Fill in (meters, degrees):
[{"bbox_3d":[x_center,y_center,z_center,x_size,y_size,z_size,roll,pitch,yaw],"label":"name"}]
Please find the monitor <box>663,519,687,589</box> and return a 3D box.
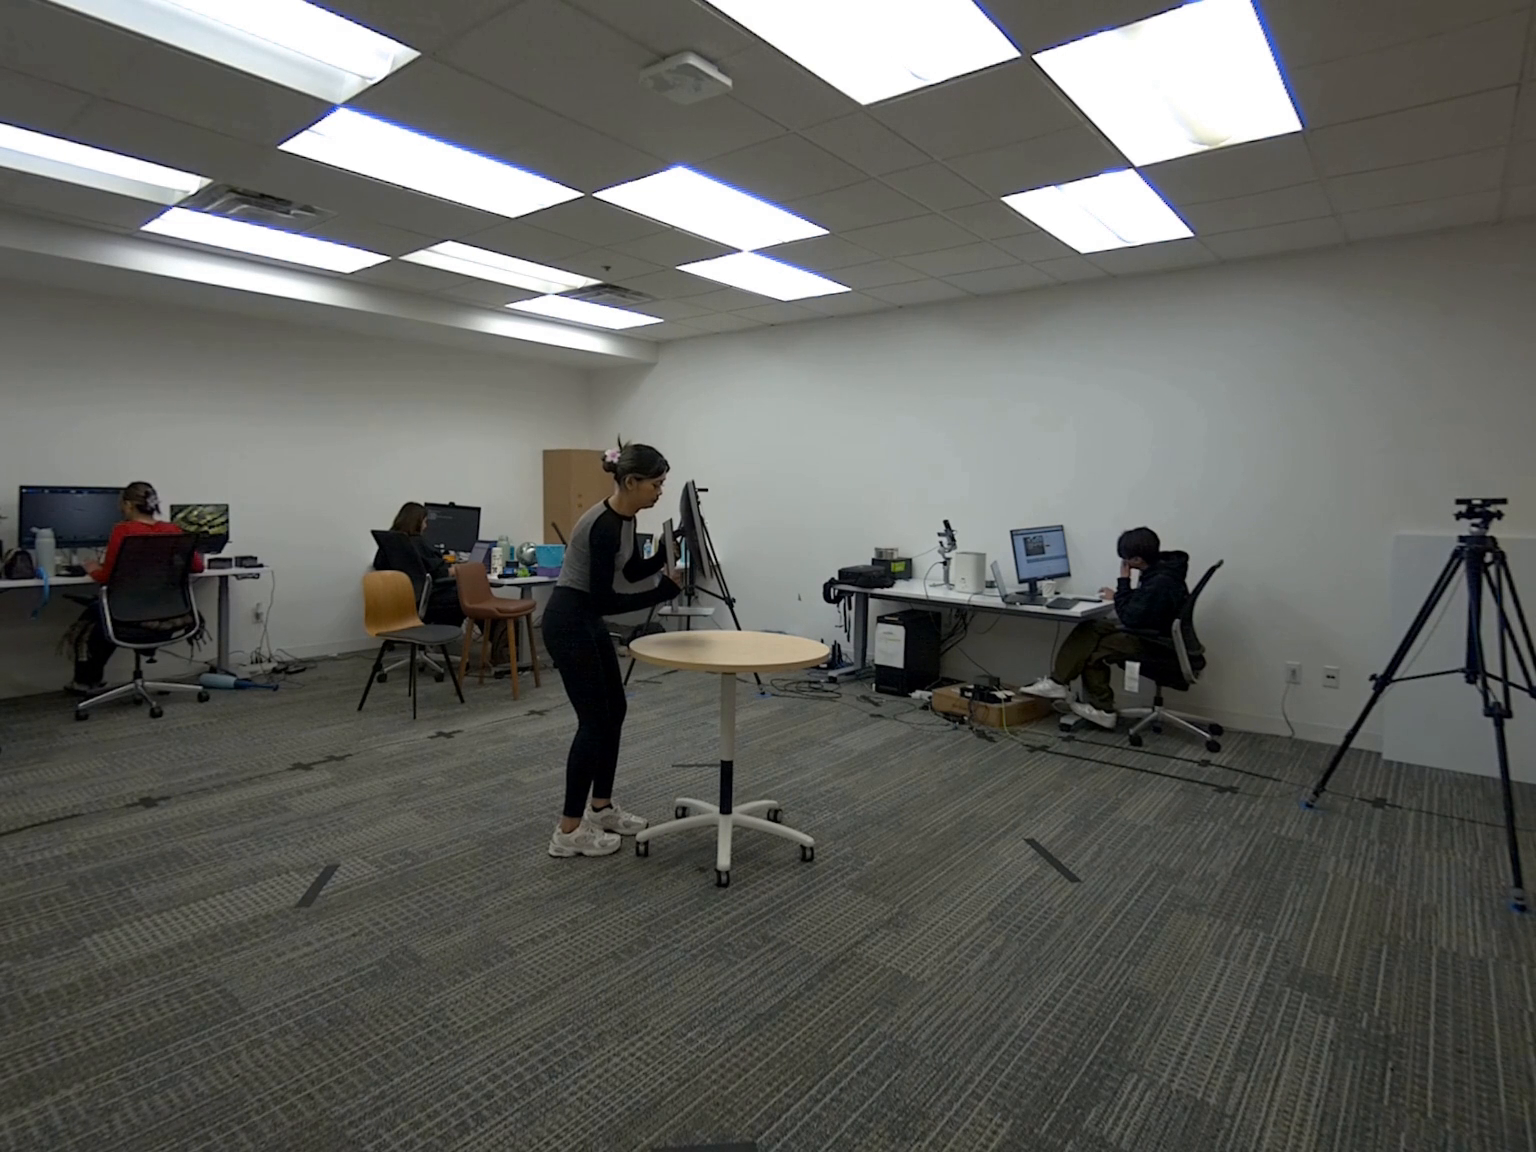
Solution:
[{"bbox_3d":[-0.333,-0.099,3.305,0.186,0.522,0.543,2,1,-8],"label":"monitor"}]
